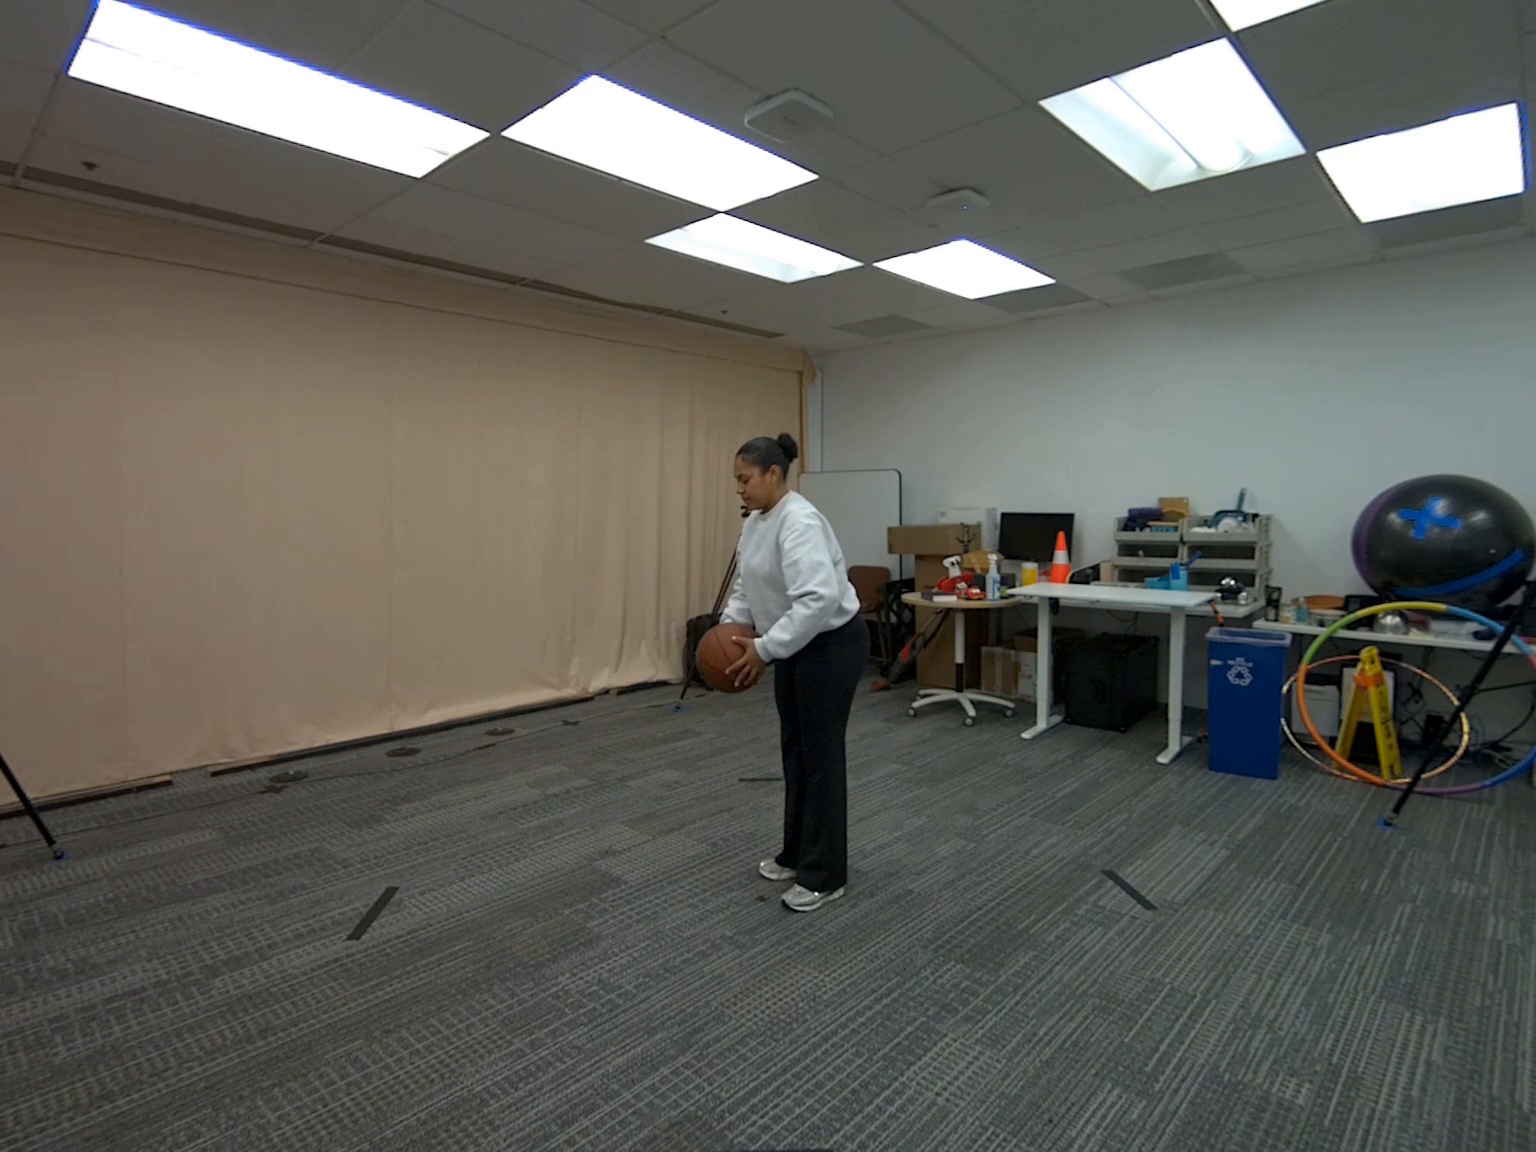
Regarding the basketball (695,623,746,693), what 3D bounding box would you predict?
[{"bbox_3d":[-0.115,0.277,2.845,0.236,0.235,0.237,0,4,-2],"label":"basketball"}]
